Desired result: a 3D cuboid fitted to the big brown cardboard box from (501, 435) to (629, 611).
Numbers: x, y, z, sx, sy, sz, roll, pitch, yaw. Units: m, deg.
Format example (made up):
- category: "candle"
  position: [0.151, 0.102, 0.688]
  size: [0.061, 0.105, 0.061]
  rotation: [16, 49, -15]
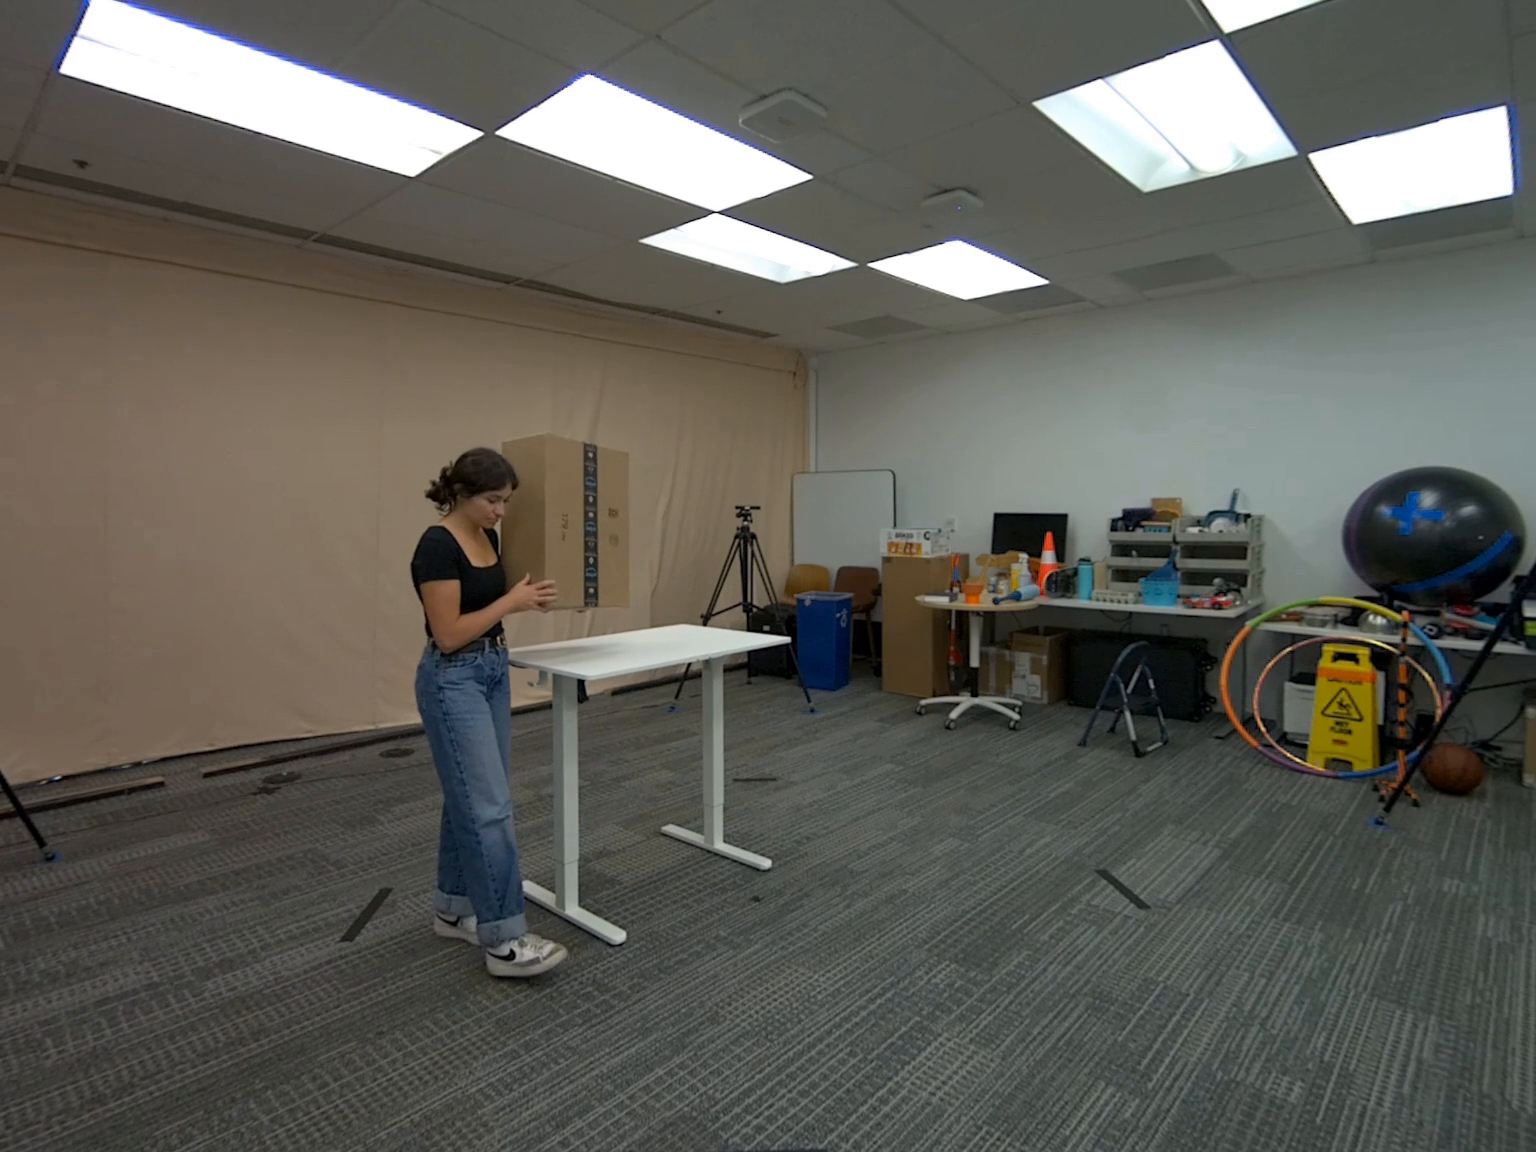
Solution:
- category: "big brown cardboard box"
  position: [-0.689, -0.165, 2.910]
  size: [0.240, 0.591, 0.404]
  rotation: [-4, -6, 32]
